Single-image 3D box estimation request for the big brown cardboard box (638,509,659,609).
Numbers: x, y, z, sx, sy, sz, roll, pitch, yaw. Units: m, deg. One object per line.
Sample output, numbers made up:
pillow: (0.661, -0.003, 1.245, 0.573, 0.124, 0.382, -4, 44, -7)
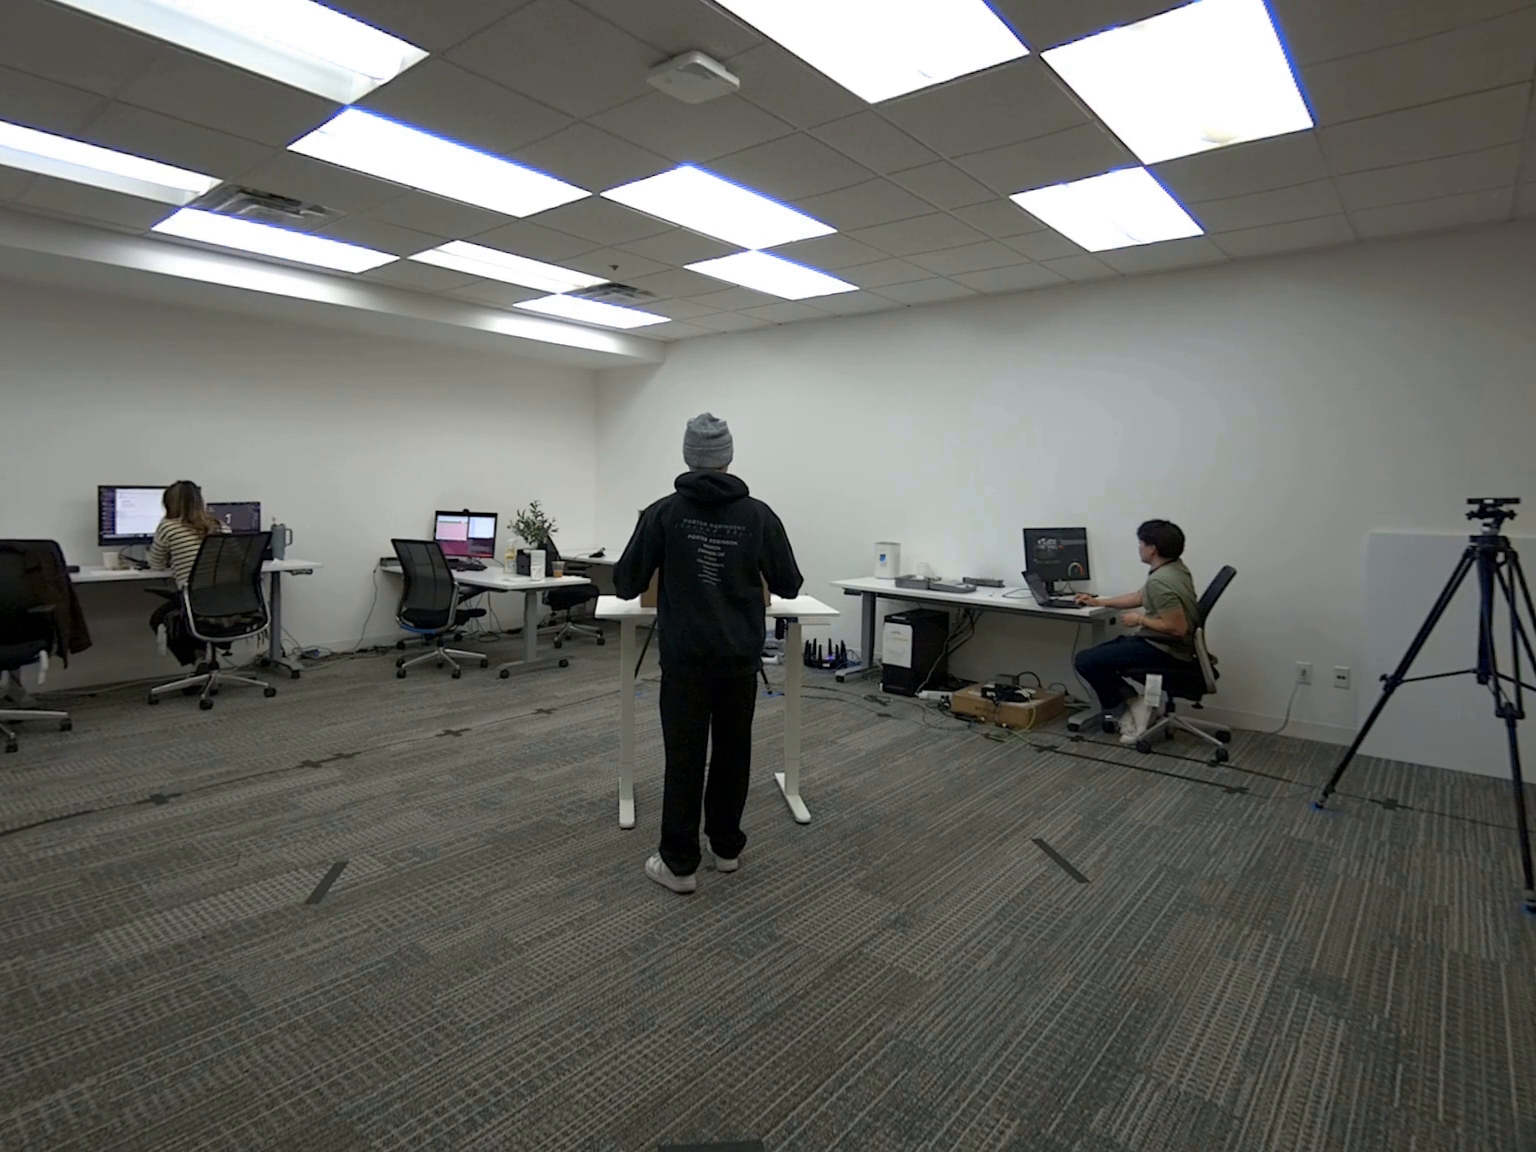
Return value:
big brown cardboard box: (-0.286, -0.088, 3.726, 0.584, 0.416, 0.236, 0, 3, -8)
